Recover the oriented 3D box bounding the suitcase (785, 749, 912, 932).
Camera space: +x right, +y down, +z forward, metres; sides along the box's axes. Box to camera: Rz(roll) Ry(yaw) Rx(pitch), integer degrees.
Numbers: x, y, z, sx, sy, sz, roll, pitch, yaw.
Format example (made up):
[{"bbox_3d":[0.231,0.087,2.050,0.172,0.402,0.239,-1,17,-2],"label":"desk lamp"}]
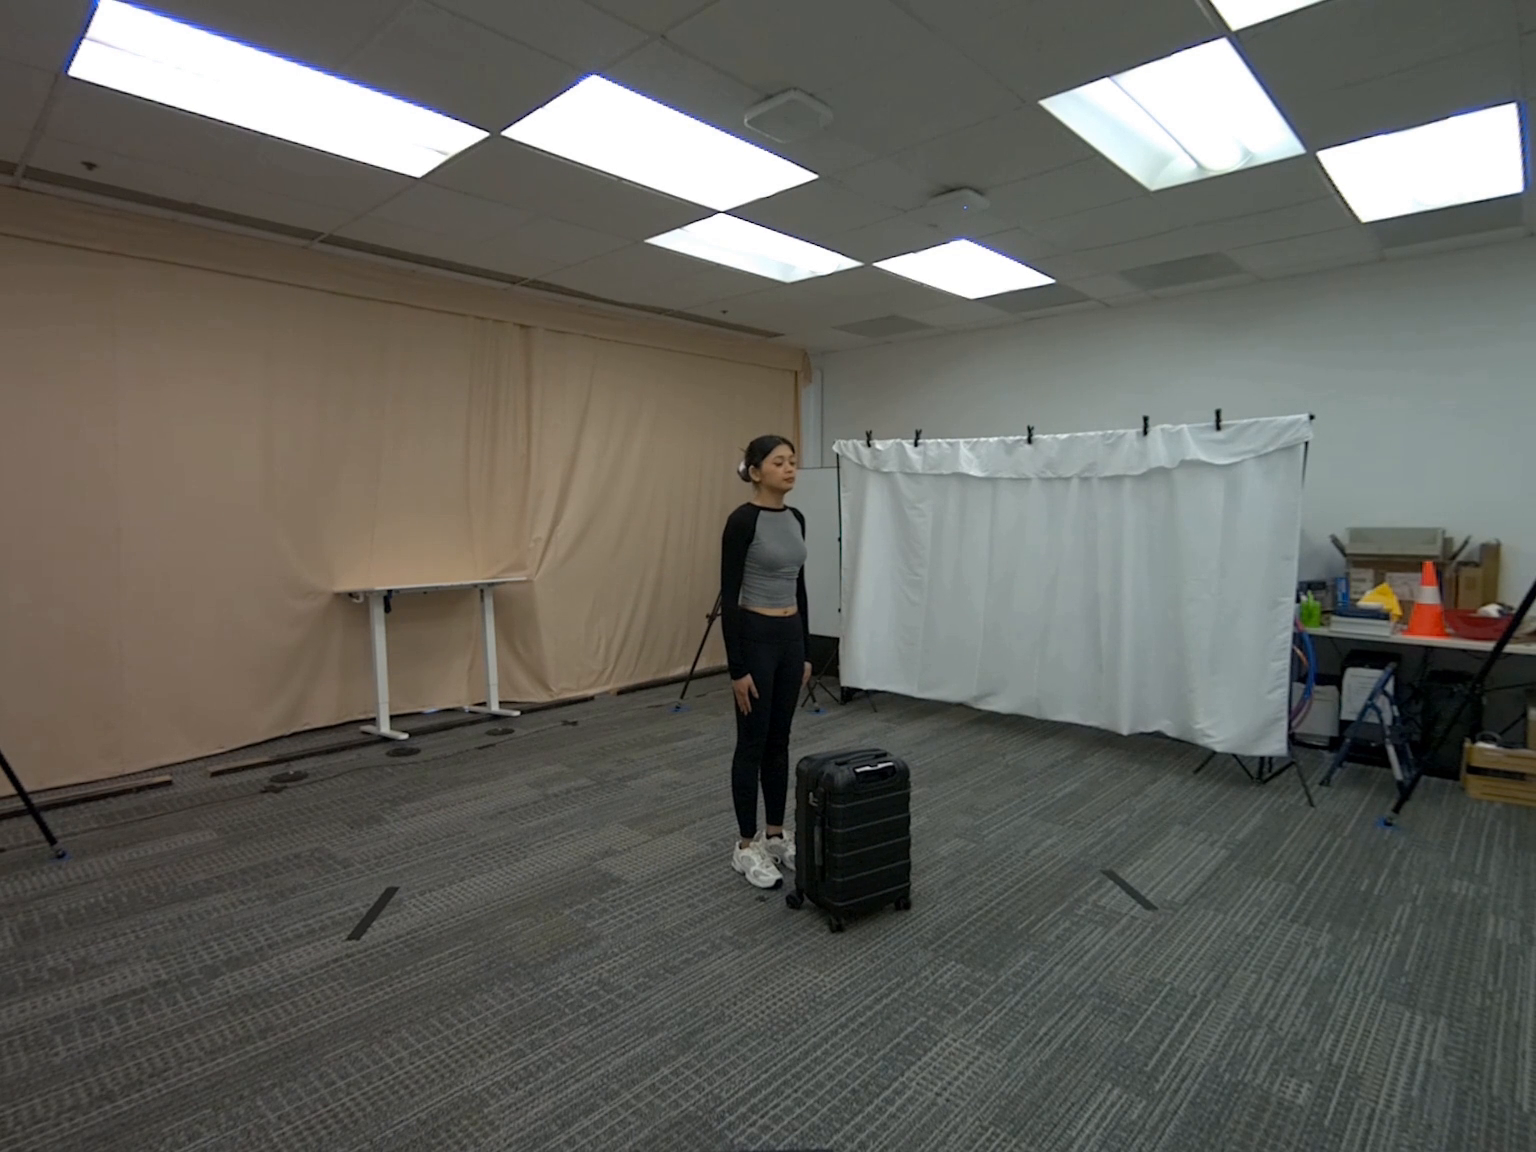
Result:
[{"bbox_3d":[0.295,0.871,2.885,0.365,0.548,0.256,-4,4,-32],"label":"suitcase"}]
